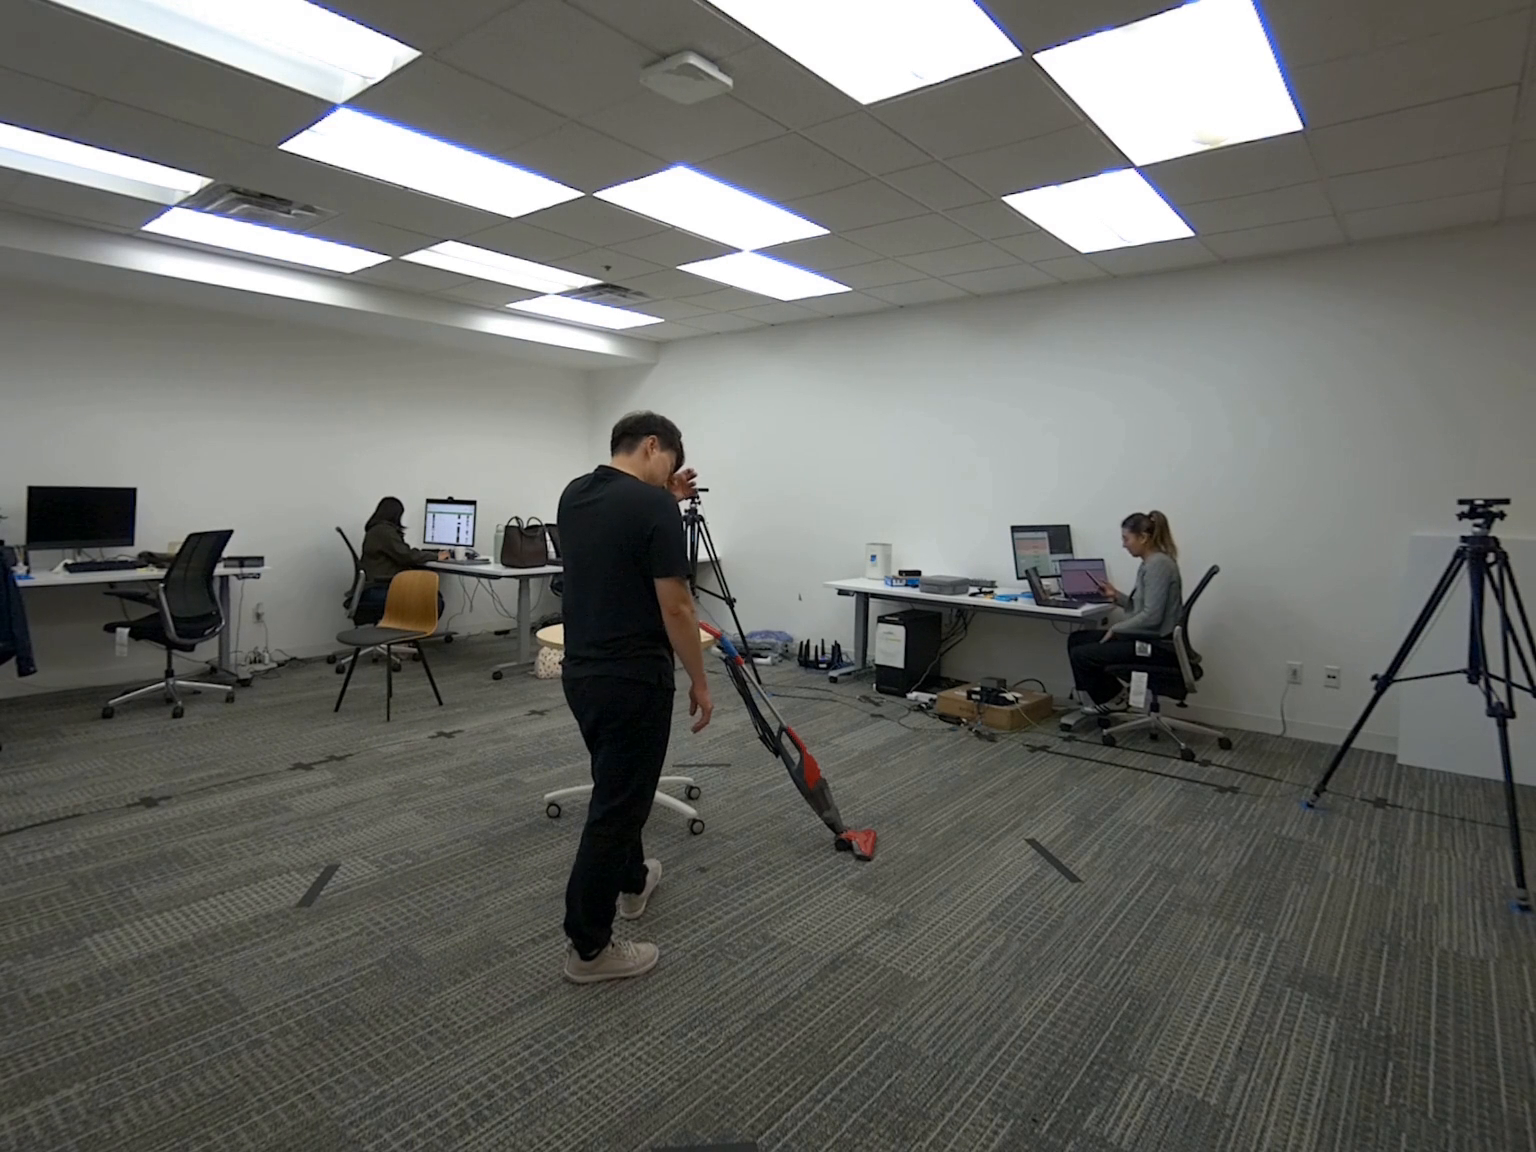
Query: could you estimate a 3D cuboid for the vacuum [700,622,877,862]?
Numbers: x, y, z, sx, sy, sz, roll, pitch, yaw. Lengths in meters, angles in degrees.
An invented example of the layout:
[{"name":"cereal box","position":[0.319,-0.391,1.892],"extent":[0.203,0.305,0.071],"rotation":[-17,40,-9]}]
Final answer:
[{"name":"vacuum","position":[0.037,0.625,3.409],"extent":[0.144,1.061,0.249],"rotation":[-38,-8,15]}]
